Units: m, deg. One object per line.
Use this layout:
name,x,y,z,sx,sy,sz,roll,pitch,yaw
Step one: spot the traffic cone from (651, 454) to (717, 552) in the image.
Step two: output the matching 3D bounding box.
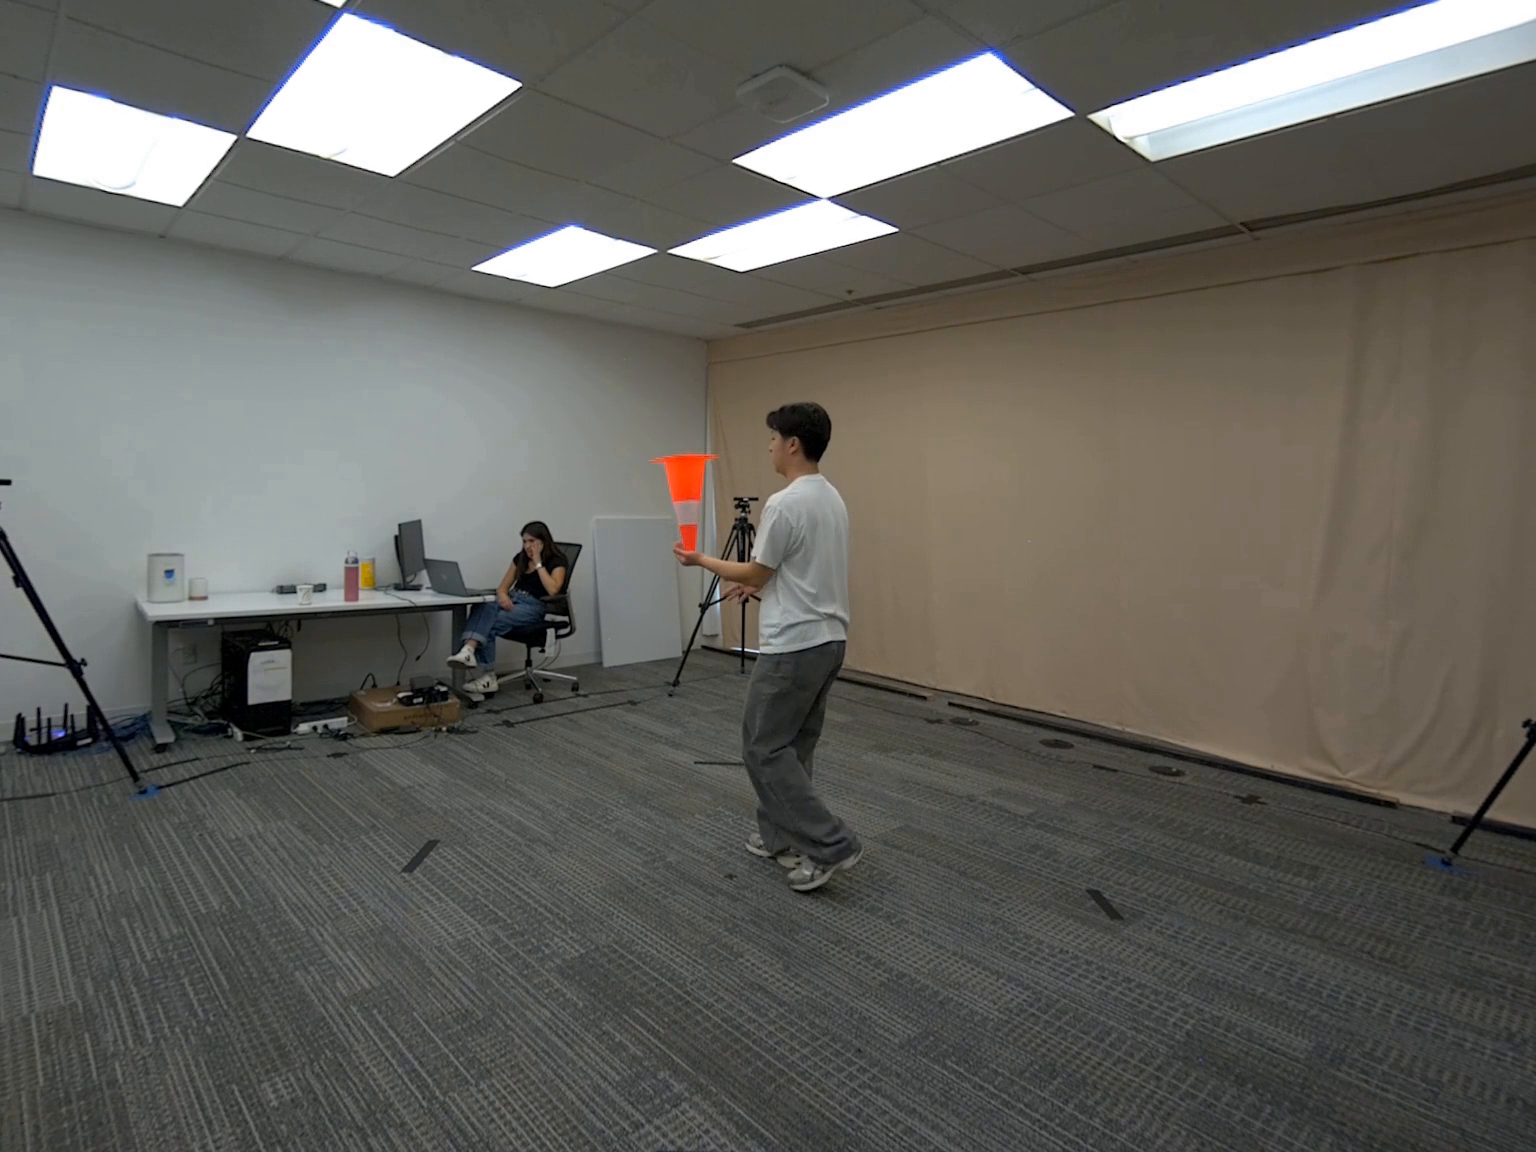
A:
traffic cone,-0.315,-0.262,3.210,0.209,0.384,0.198,-3,-1,42
